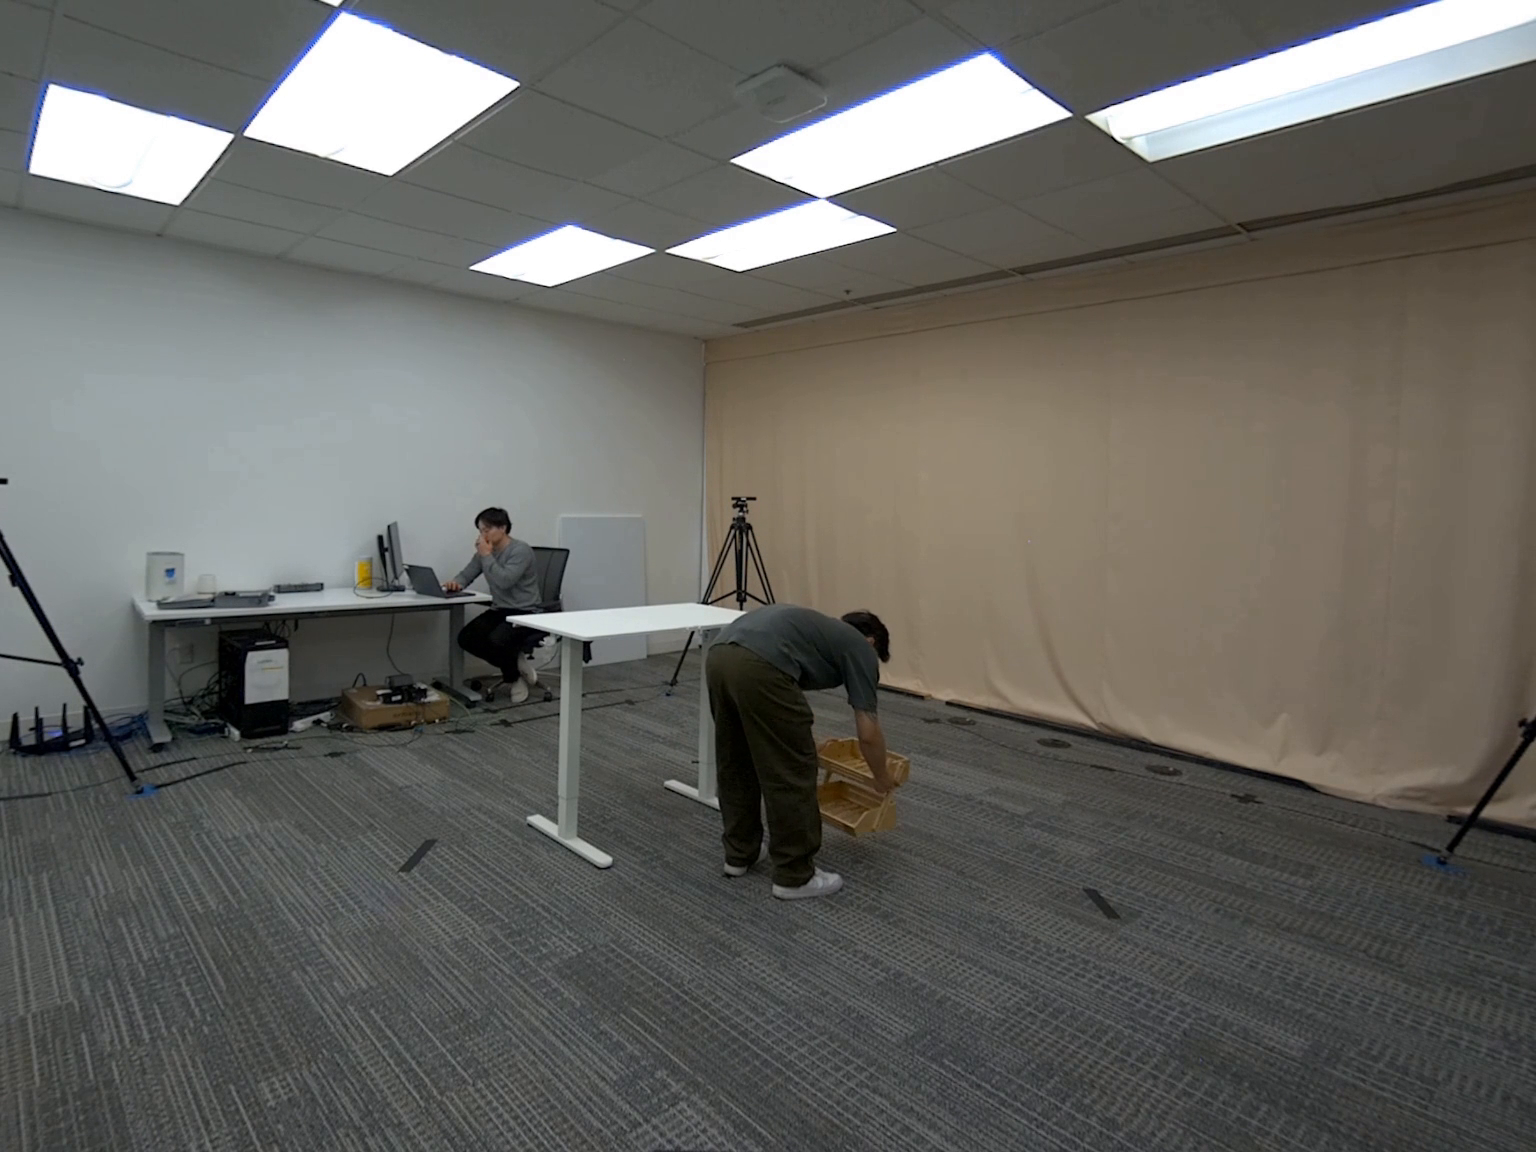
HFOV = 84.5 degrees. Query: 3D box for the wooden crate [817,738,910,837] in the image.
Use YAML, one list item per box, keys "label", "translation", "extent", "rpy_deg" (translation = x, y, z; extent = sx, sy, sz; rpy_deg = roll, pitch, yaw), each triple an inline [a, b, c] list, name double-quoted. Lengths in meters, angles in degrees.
- label: "wooden crate"
  translation: [0.335, 0.827, 3.336]
  extent: [0.295, 0.272, 0.333]
  rpy_deg: [-1, 7, -42]
